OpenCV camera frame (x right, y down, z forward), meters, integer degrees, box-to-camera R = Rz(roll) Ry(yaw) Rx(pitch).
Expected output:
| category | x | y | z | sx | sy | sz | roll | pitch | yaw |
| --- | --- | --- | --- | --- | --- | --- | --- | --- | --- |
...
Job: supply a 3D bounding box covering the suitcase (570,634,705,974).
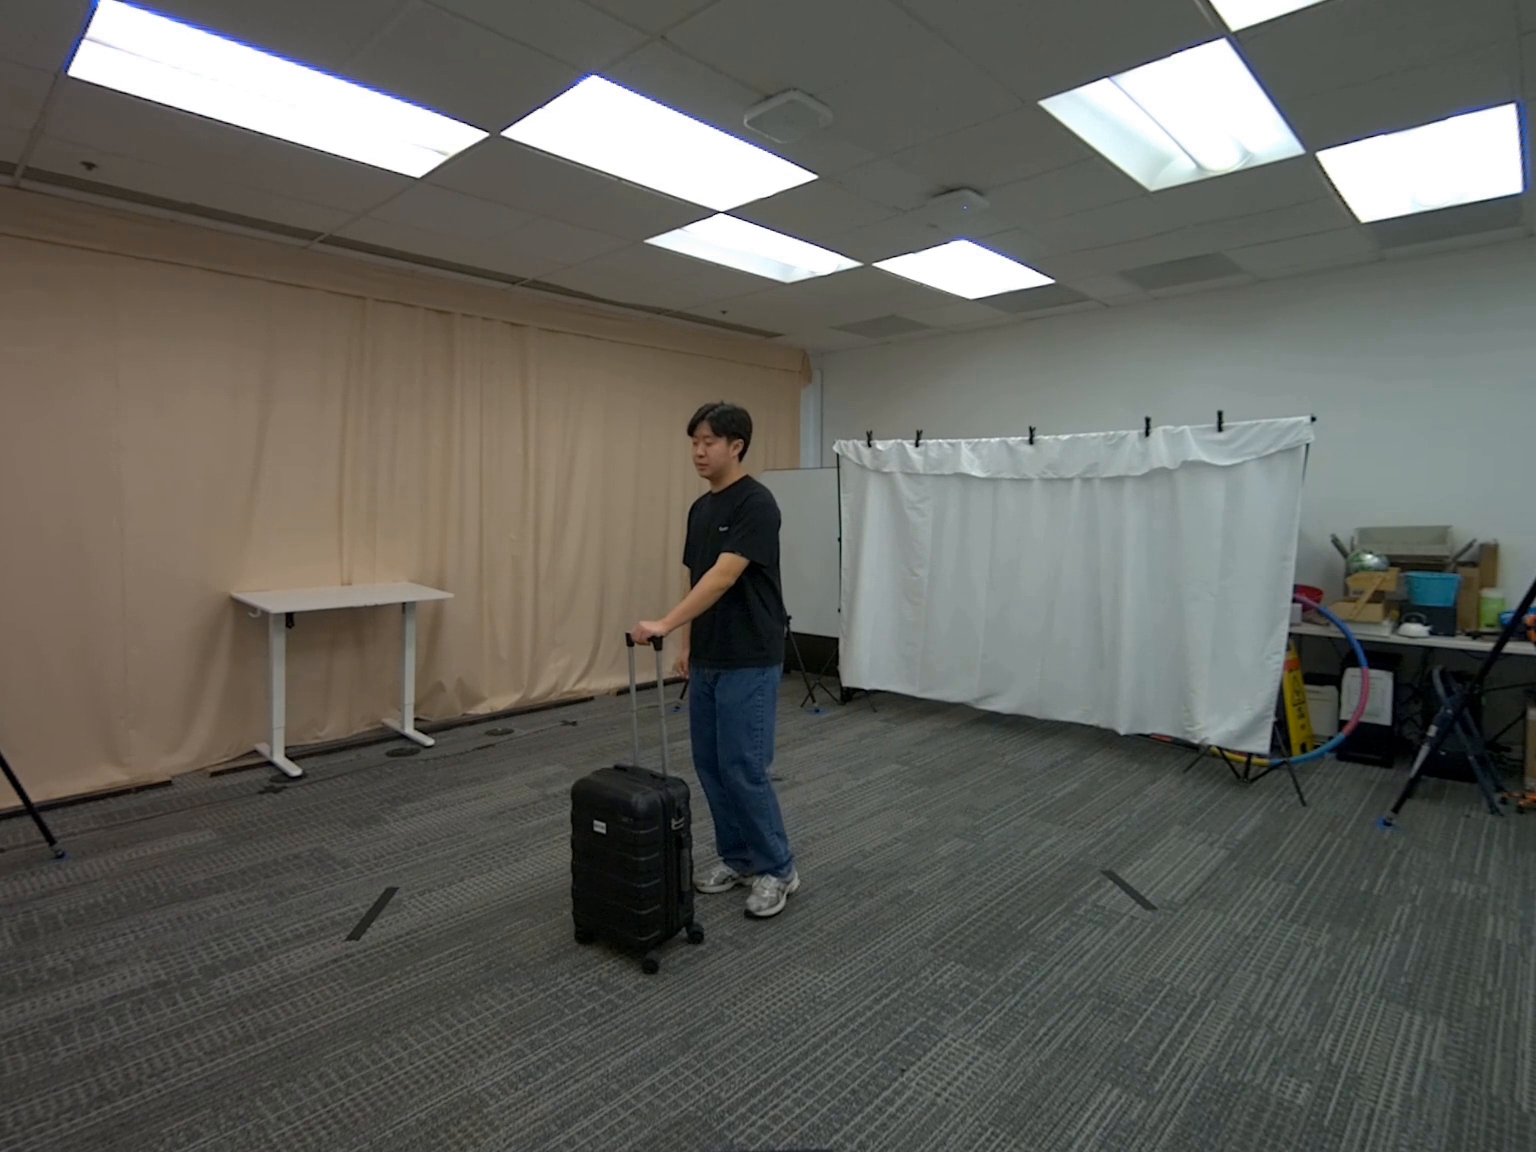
| category | x | y | z | sx | sy | sz | roll | pitch | yaw |
| --- | --- | --- | --- | --- | --- | --- | --- | --- | --- |
| suitcase | -0.446 | 0.698 | 2.663 | 0.396 | 0.976 | 0.250 | 0 | 5 | 36 |
